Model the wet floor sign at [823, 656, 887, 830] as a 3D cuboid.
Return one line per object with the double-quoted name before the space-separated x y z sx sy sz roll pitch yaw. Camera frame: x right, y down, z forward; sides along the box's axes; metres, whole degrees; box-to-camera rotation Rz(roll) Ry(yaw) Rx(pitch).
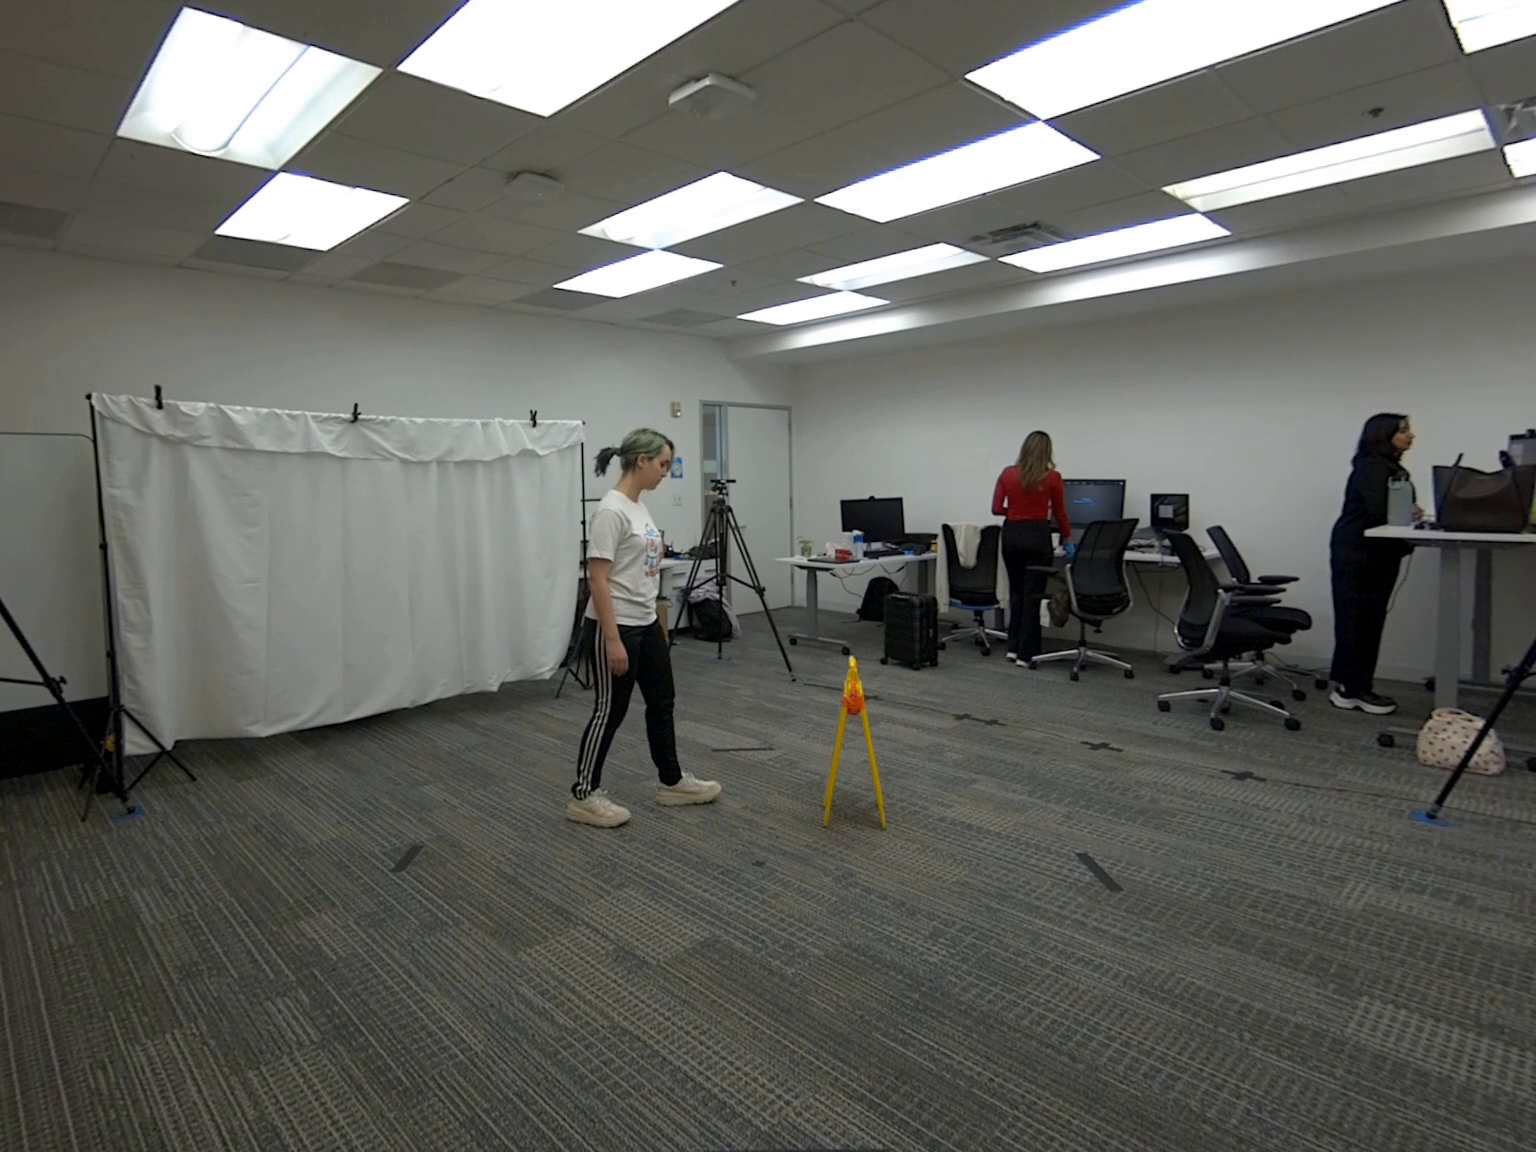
"wet floor sign" 0.349 0.665 3.536 0.292 0.645 0.281 0 2 6
